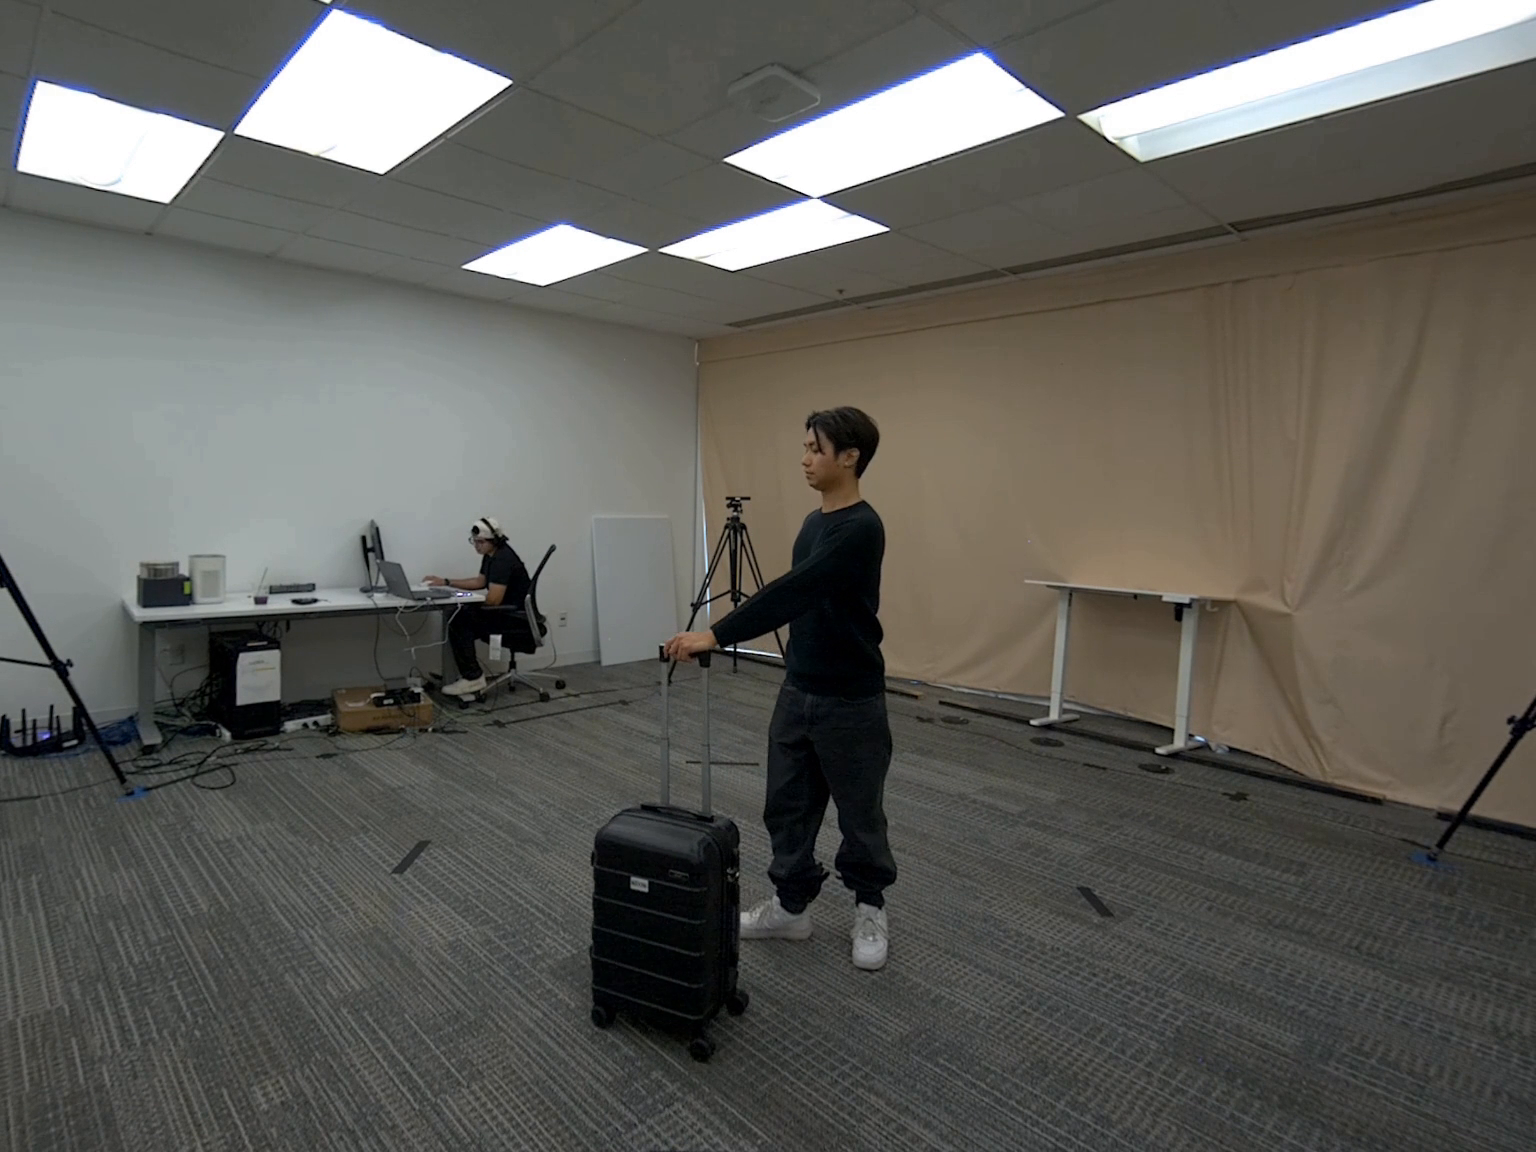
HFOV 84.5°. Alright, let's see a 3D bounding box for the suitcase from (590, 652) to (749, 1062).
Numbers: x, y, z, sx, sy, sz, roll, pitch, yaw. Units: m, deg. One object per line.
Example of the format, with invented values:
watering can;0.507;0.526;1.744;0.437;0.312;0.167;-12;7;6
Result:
suitcase;-0.274;0.708;2.229;0.391;0.976;0.253;1;4;23
